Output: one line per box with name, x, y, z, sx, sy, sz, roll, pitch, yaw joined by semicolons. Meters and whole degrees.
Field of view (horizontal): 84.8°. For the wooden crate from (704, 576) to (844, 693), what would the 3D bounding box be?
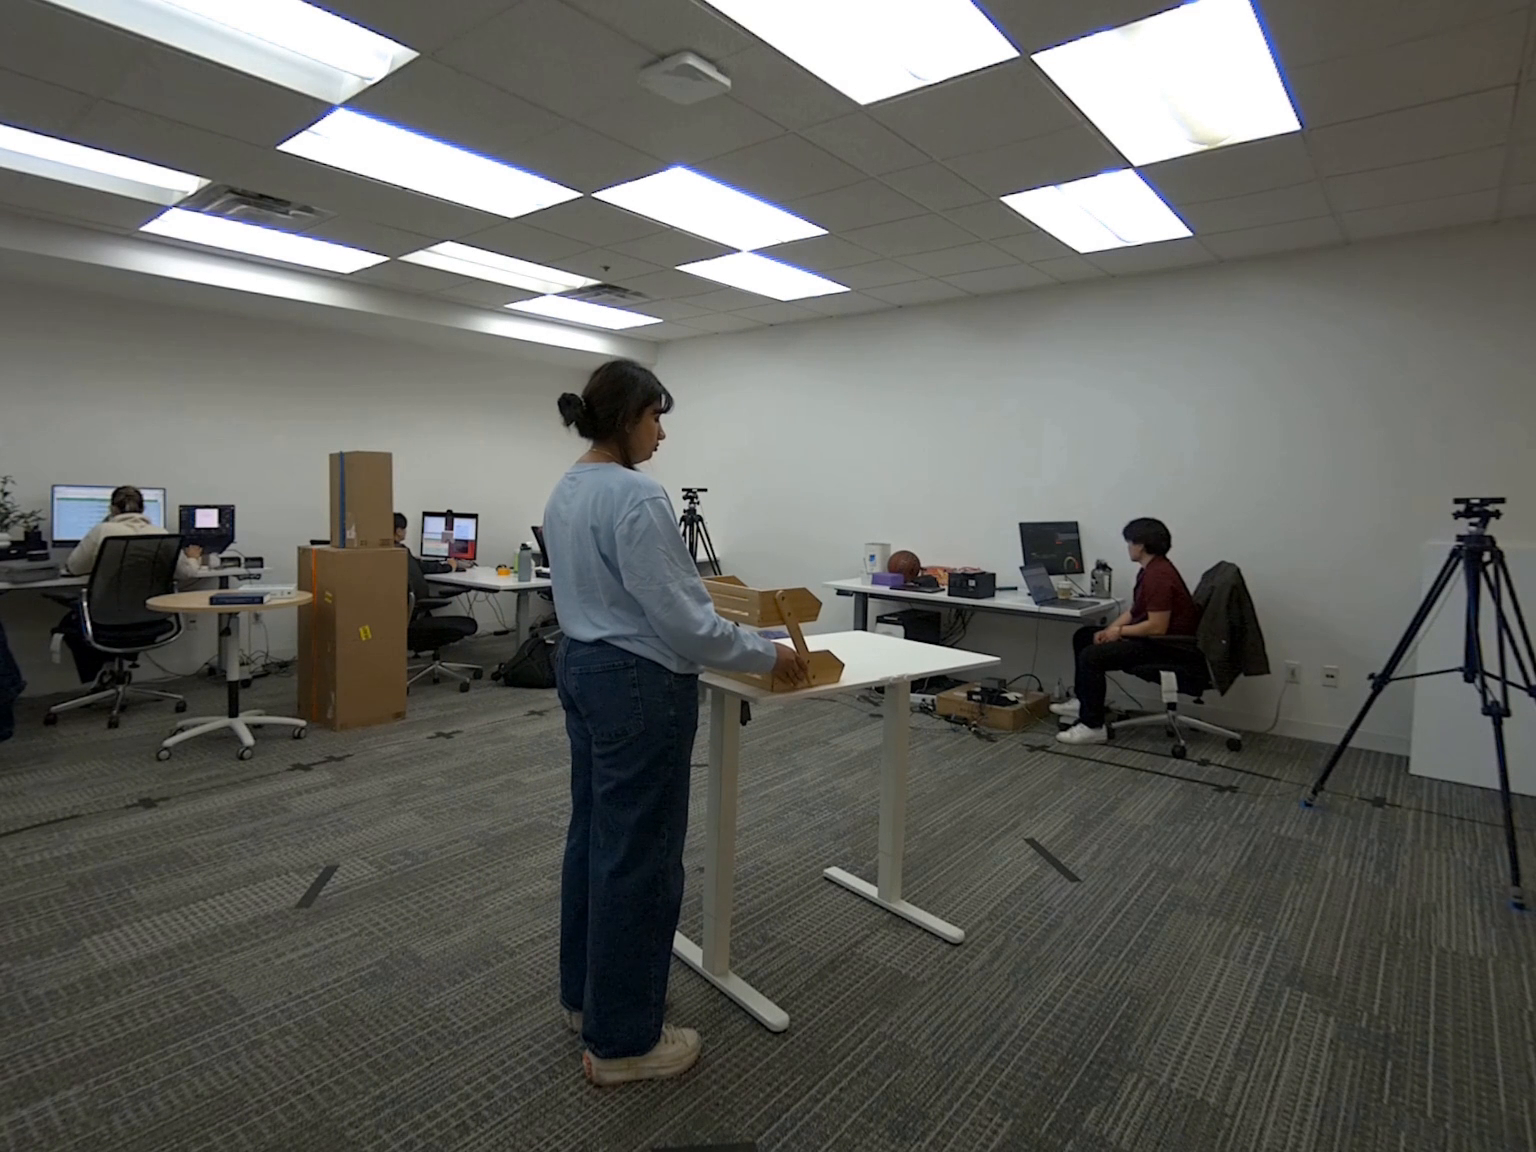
wooden crate;-0.010;0.143;2.286;0.293;0.272;0.336;-3;7;-38
